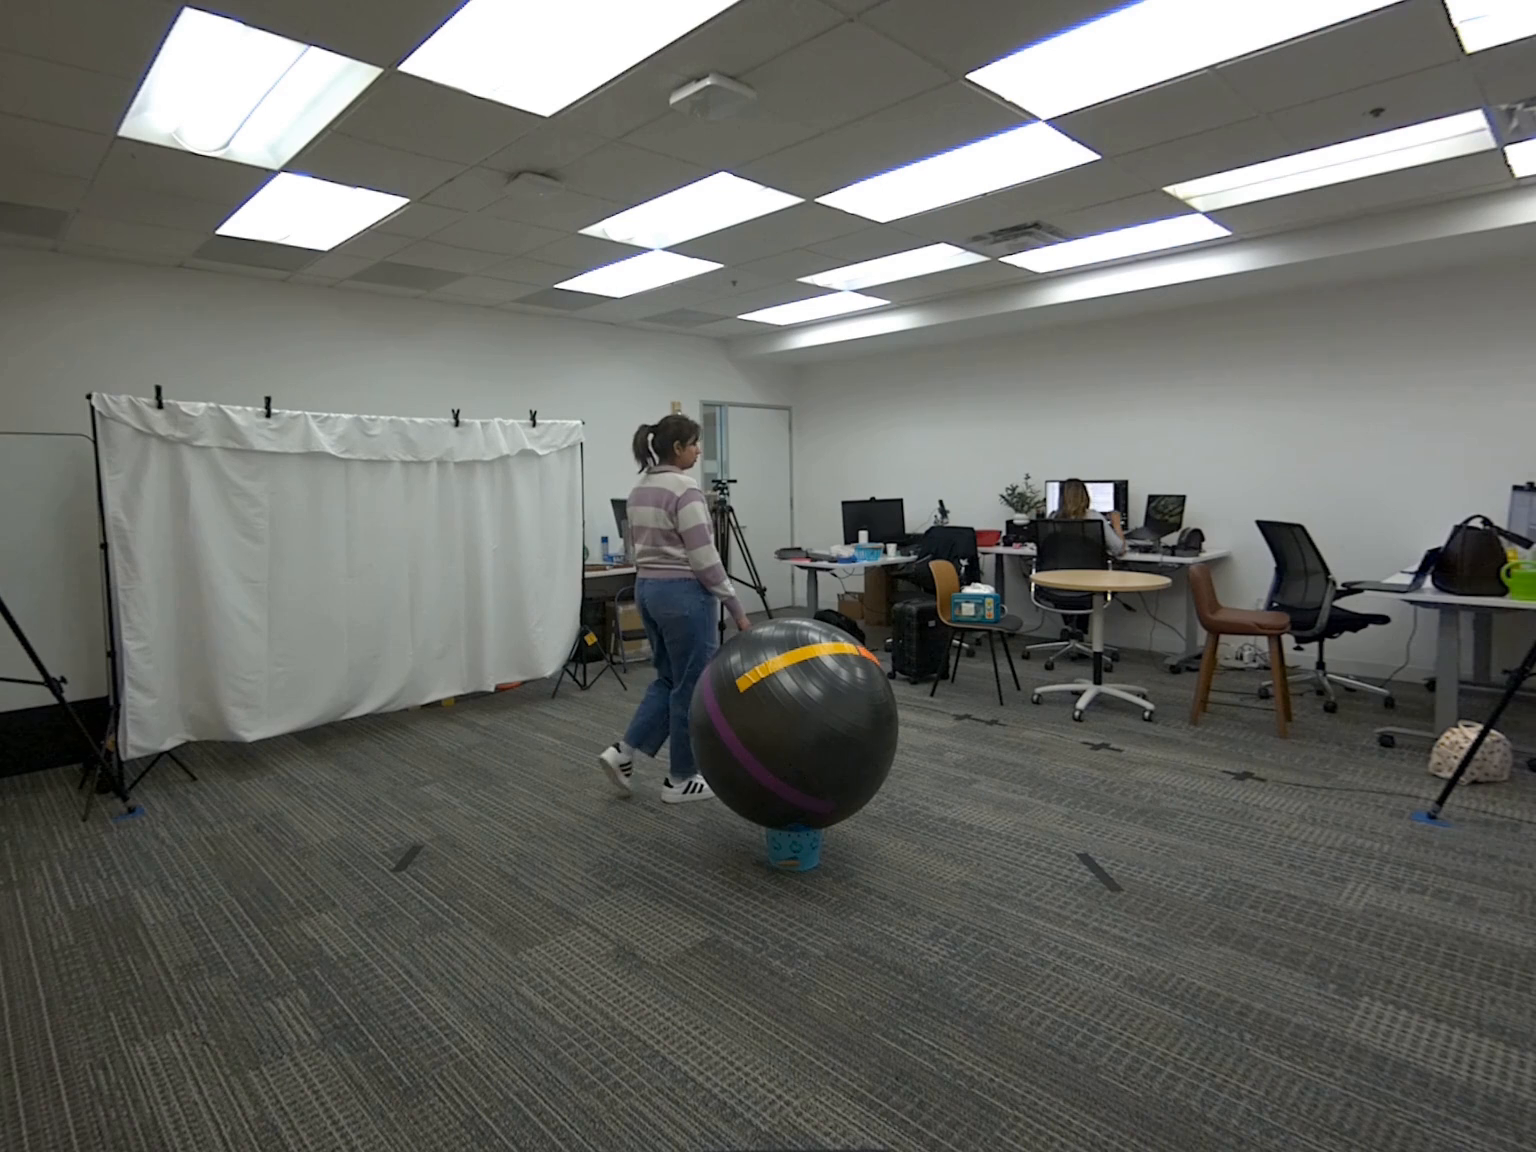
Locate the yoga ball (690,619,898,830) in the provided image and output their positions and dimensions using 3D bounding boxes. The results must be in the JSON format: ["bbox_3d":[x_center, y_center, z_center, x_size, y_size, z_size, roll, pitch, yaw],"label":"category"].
[{"bbox_3d":[0.089,0.531,3.108,0.757,0.755,0.762,-1,5,-2],"label":"yoga ball"}]
